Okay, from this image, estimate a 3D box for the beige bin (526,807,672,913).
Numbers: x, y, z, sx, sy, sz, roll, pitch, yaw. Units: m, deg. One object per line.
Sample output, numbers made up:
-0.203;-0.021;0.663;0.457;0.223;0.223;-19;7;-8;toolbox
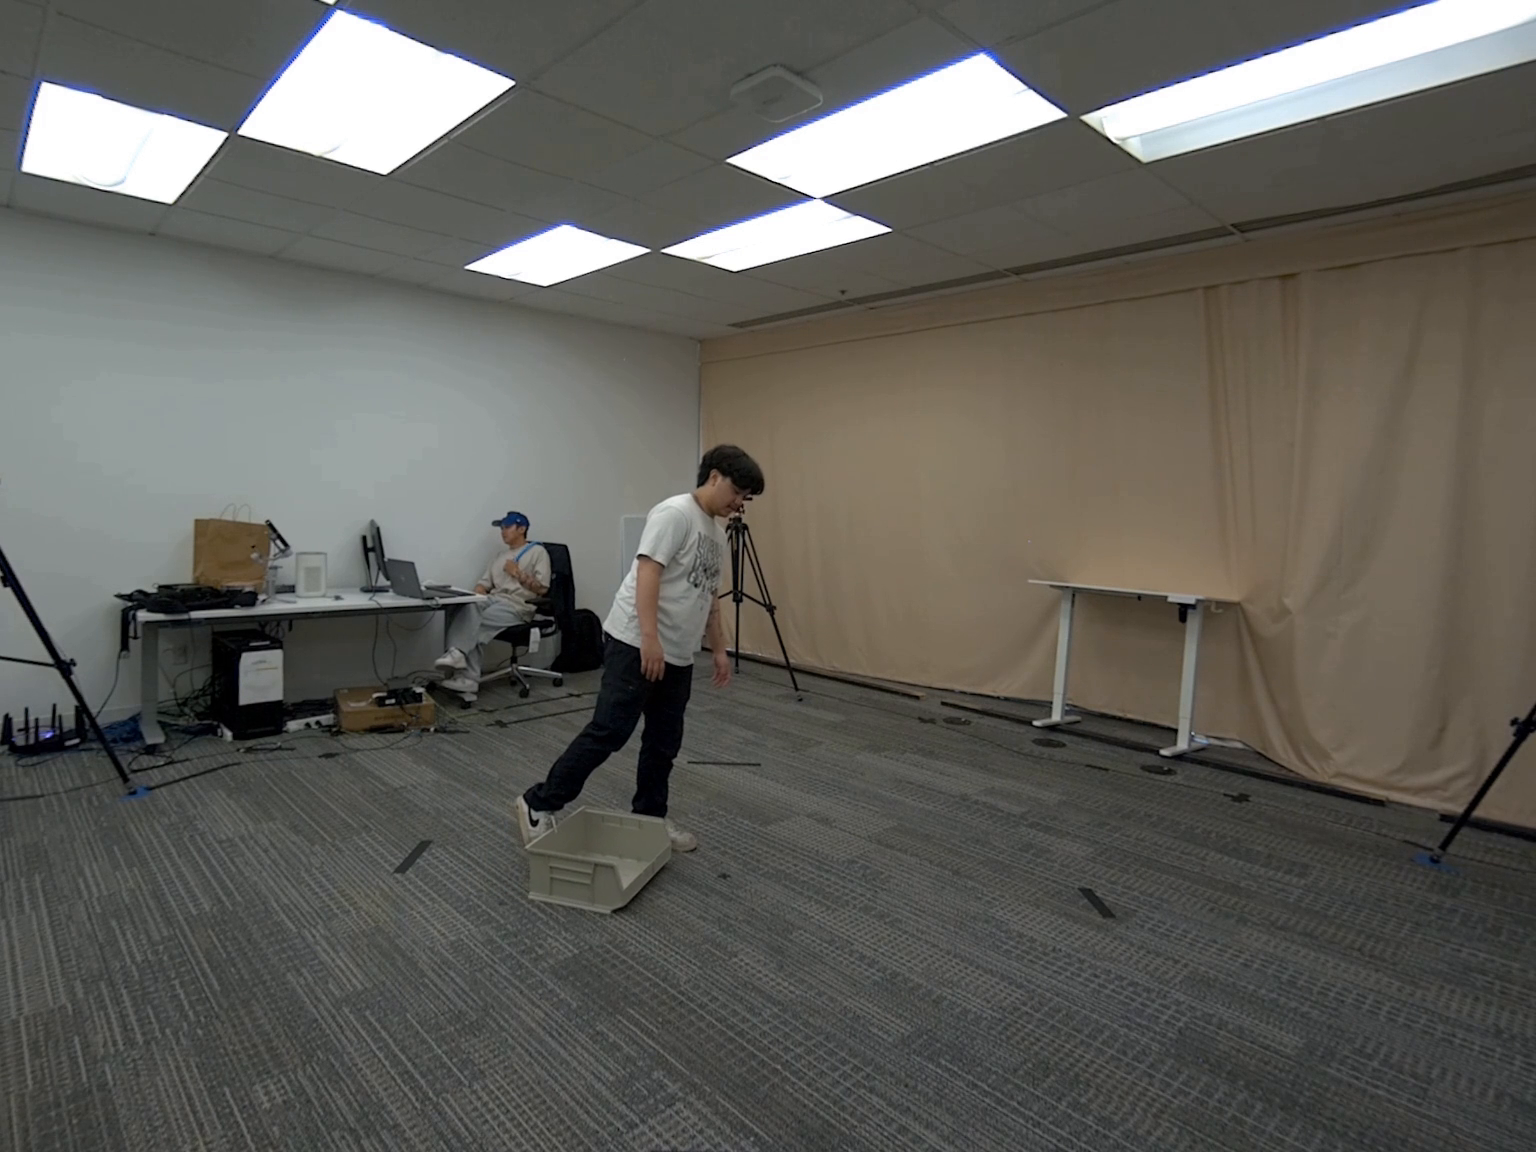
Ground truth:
-0.606;1.016;3.032;0.382;0.188;0.418;1;6;16;beige bin
